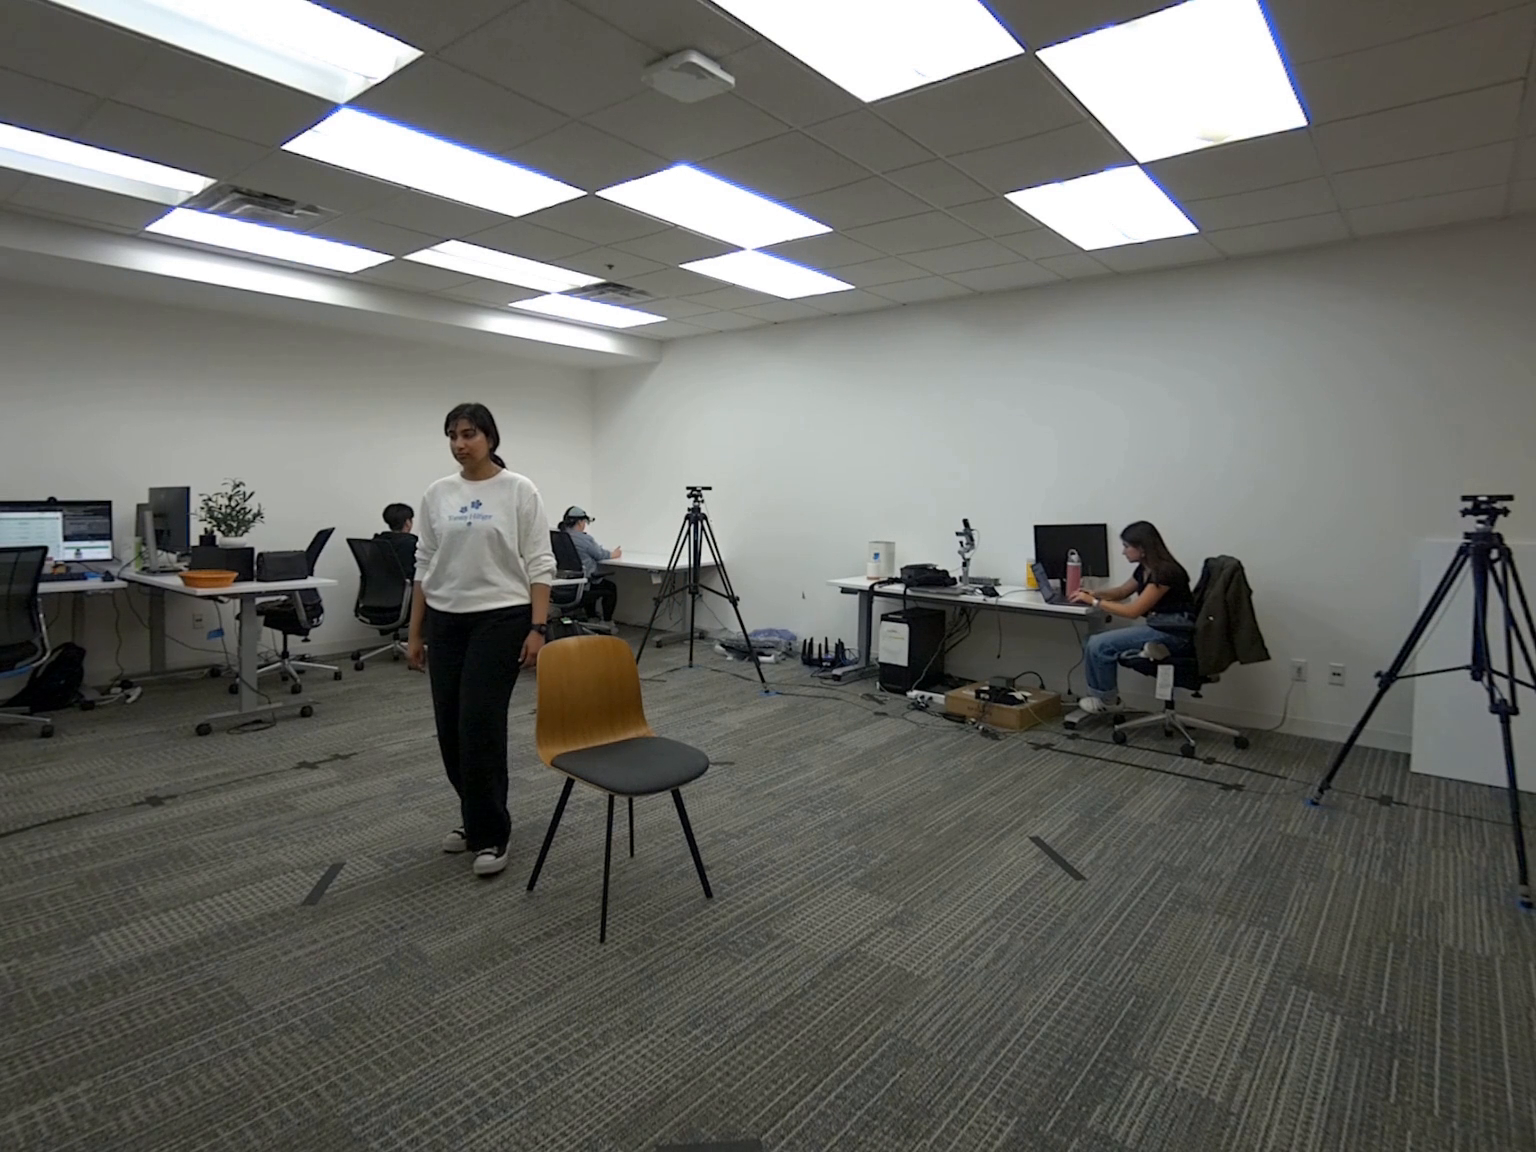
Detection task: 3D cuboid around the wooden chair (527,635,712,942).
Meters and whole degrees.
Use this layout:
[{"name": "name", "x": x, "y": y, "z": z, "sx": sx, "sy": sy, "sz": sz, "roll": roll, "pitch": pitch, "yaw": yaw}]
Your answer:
[{"name": "wooden chair", "x": -0.492, "y": 0.658, "z": 2.863, "sx": 0.463, "sy": 0.878, "sz": 0.539, "roll": -2, "pitch": 0, "yaw": -44}]
